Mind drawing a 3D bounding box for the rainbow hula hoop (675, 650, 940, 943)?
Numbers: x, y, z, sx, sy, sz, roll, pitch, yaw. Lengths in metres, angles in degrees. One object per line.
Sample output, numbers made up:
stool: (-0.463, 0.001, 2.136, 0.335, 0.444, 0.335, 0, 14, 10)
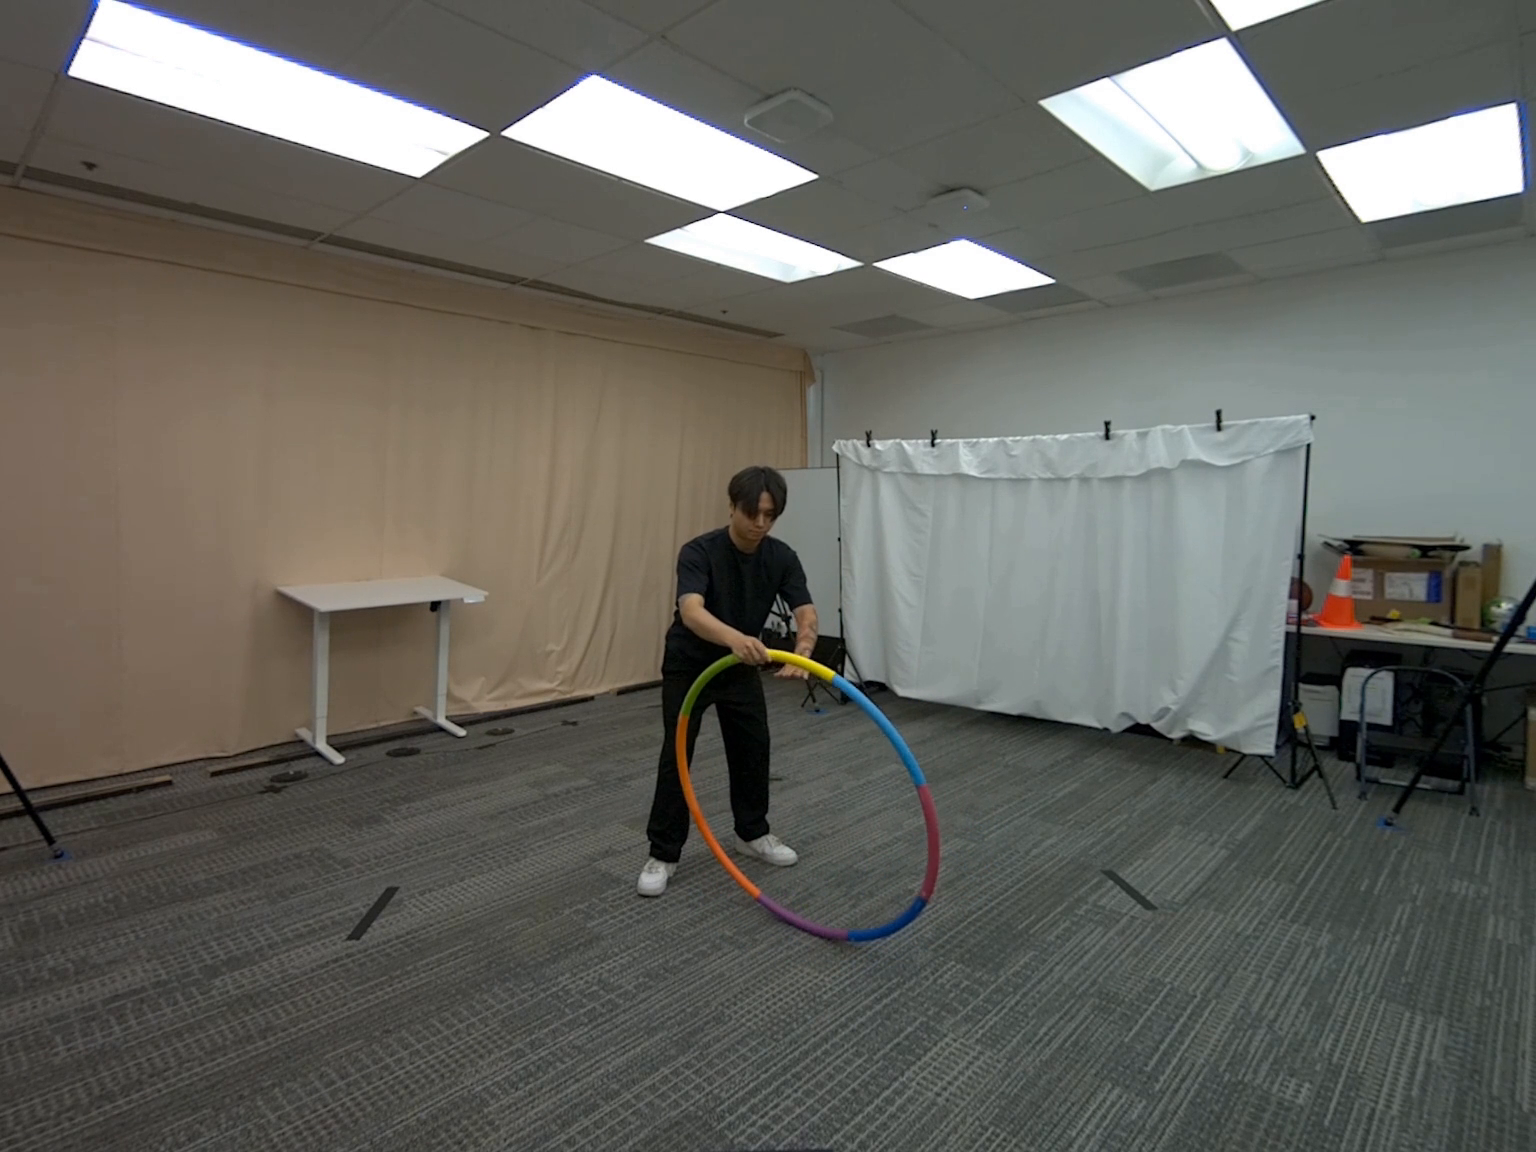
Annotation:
rainbow hula hoop: (0.083, 0.704, 2.648, 1.011, 0.969, 0.035, 3, 16, 40)
